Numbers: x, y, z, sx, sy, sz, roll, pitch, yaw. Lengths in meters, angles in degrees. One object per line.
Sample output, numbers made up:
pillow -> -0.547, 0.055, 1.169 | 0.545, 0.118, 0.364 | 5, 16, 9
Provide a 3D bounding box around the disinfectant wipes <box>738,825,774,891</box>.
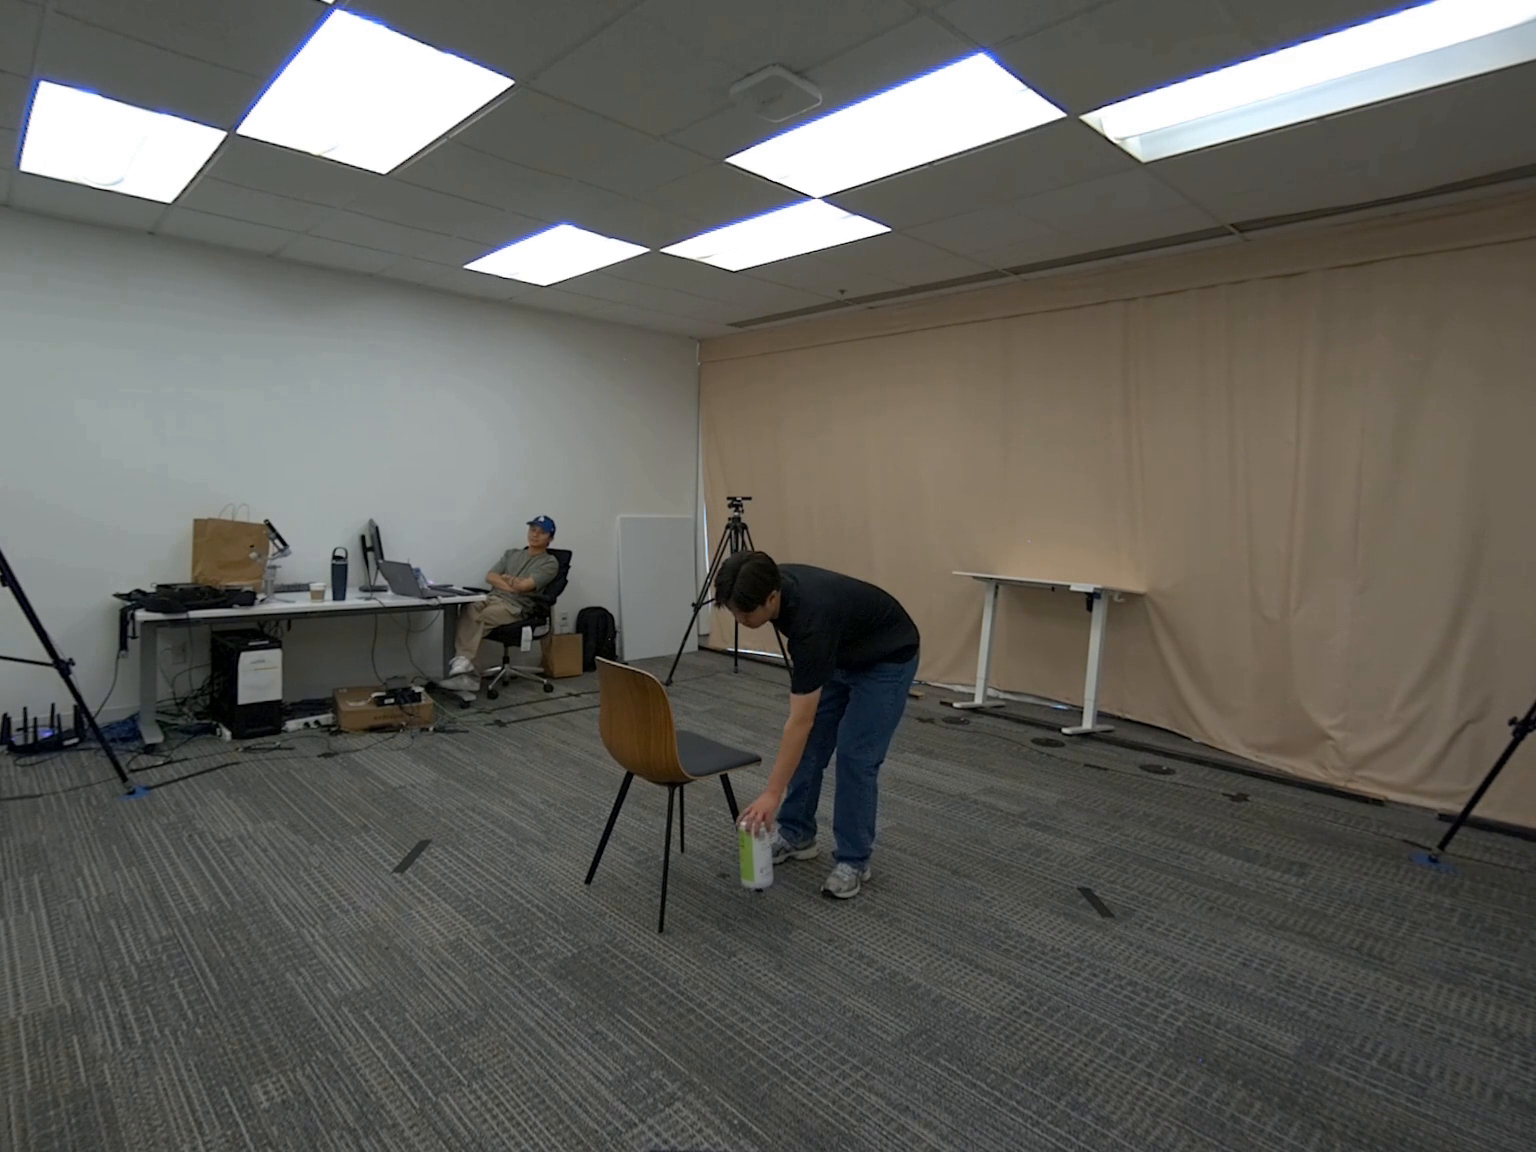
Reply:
disinfectant wipes -> -0.058, 0.900, 2.780 | 0.118, 0.217, 0.118 | -2, 2, -1
